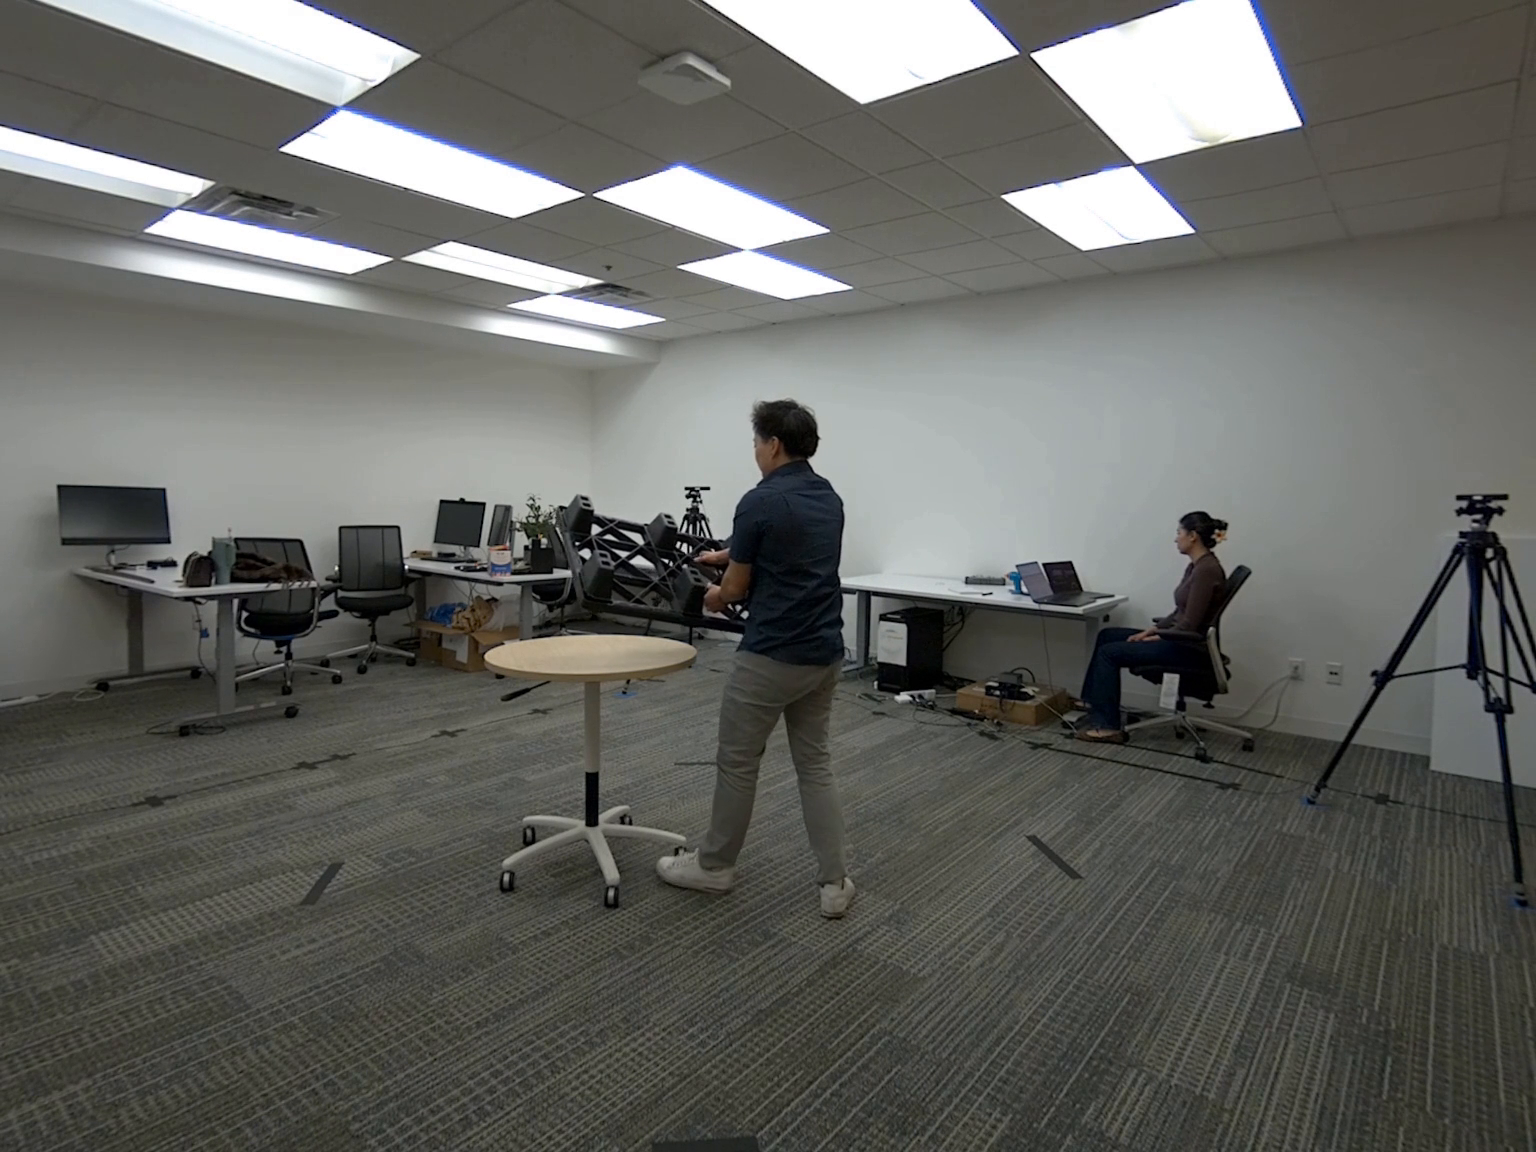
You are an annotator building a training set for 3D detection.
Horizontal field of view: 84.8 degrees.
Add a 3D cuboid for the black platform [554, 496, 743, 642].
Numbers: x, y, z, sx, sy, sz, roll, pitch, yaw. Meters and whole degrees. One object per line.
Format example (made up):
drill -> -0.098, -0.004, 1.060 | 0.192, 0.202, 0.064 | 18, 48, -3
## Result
black platform -> -0.354, -0.050, 3.128 | 0.781, 0.142, 0.629 | 11, 31, -28
